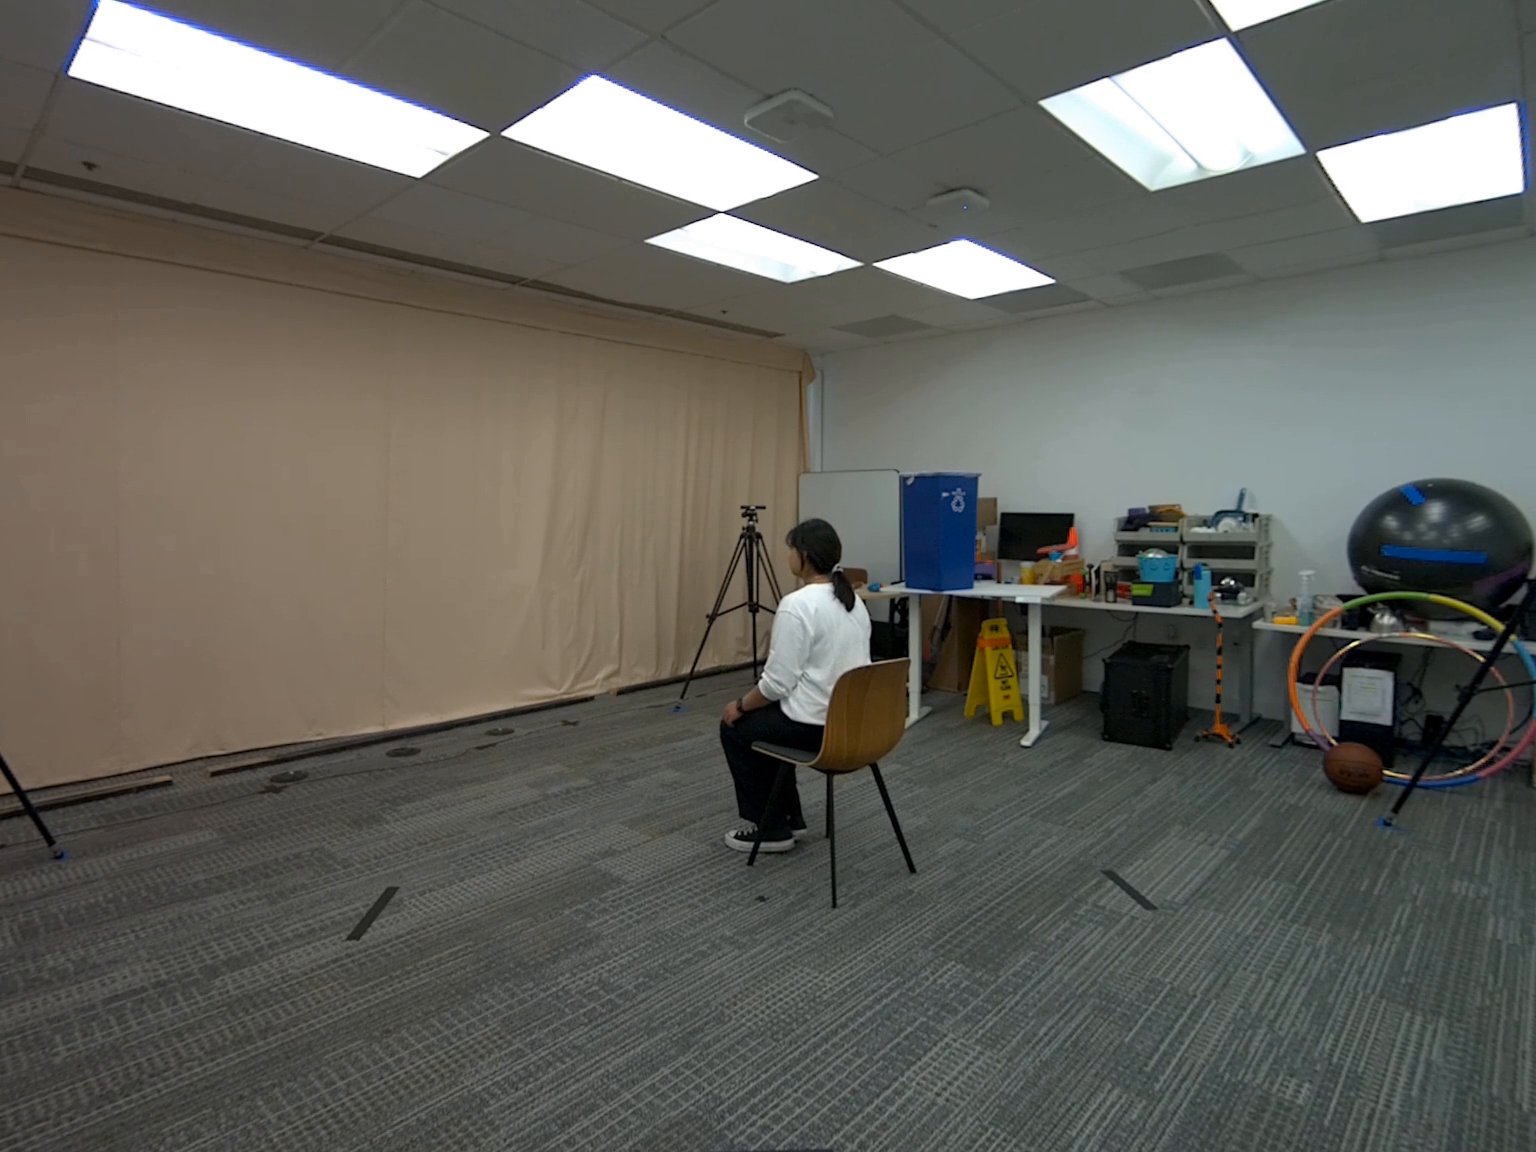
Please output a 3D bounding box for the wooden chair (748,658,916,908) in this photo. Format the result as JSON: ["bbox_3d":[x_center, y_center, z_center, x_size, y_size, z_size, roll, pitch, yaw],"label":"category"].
[{"bbox_3d":[0.233,0.695,3.199,0.463,0.874,0.541,-2,8,-41],"label":"wooden chair"}]
